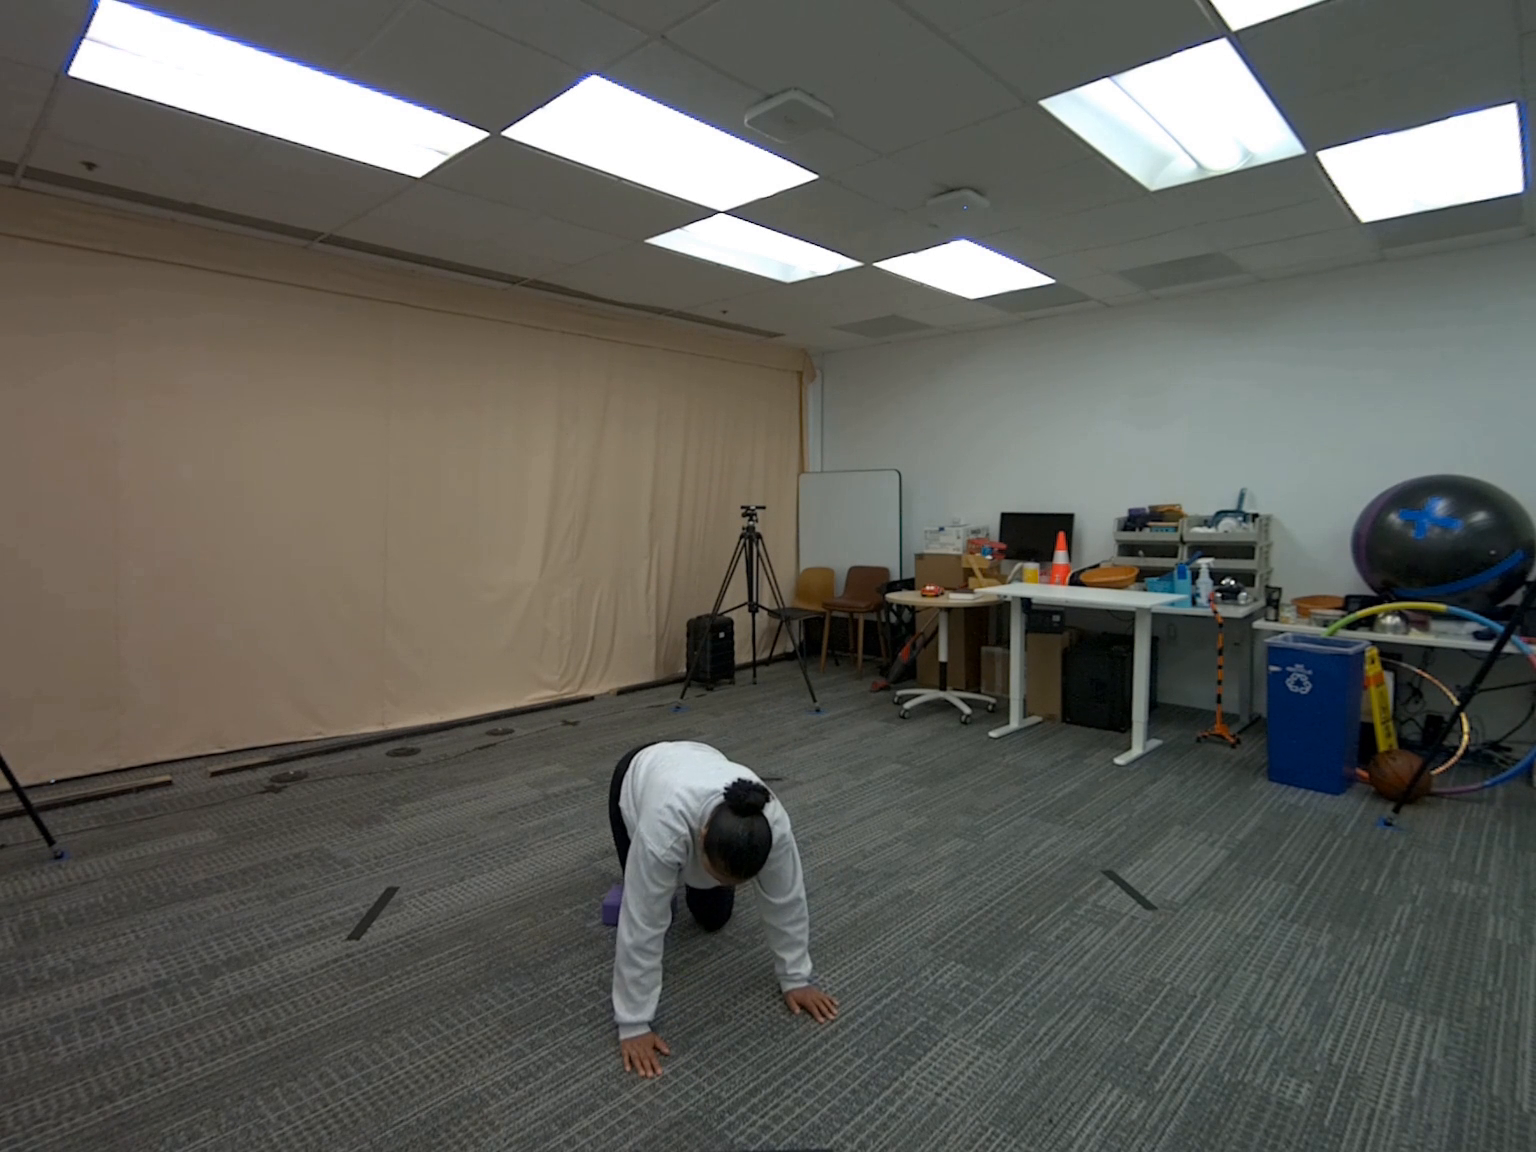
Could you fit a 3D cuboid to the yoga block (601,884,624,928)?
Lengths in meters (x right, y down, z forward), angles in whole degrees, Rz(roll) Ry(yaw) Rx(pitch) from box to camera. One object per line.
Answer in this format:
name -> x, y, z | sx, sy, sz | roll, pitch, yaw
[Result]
yoga block -> -0.431, 1.115, 2.858 | 0.231, 0.076, 0.148 | -1, 2, 8
